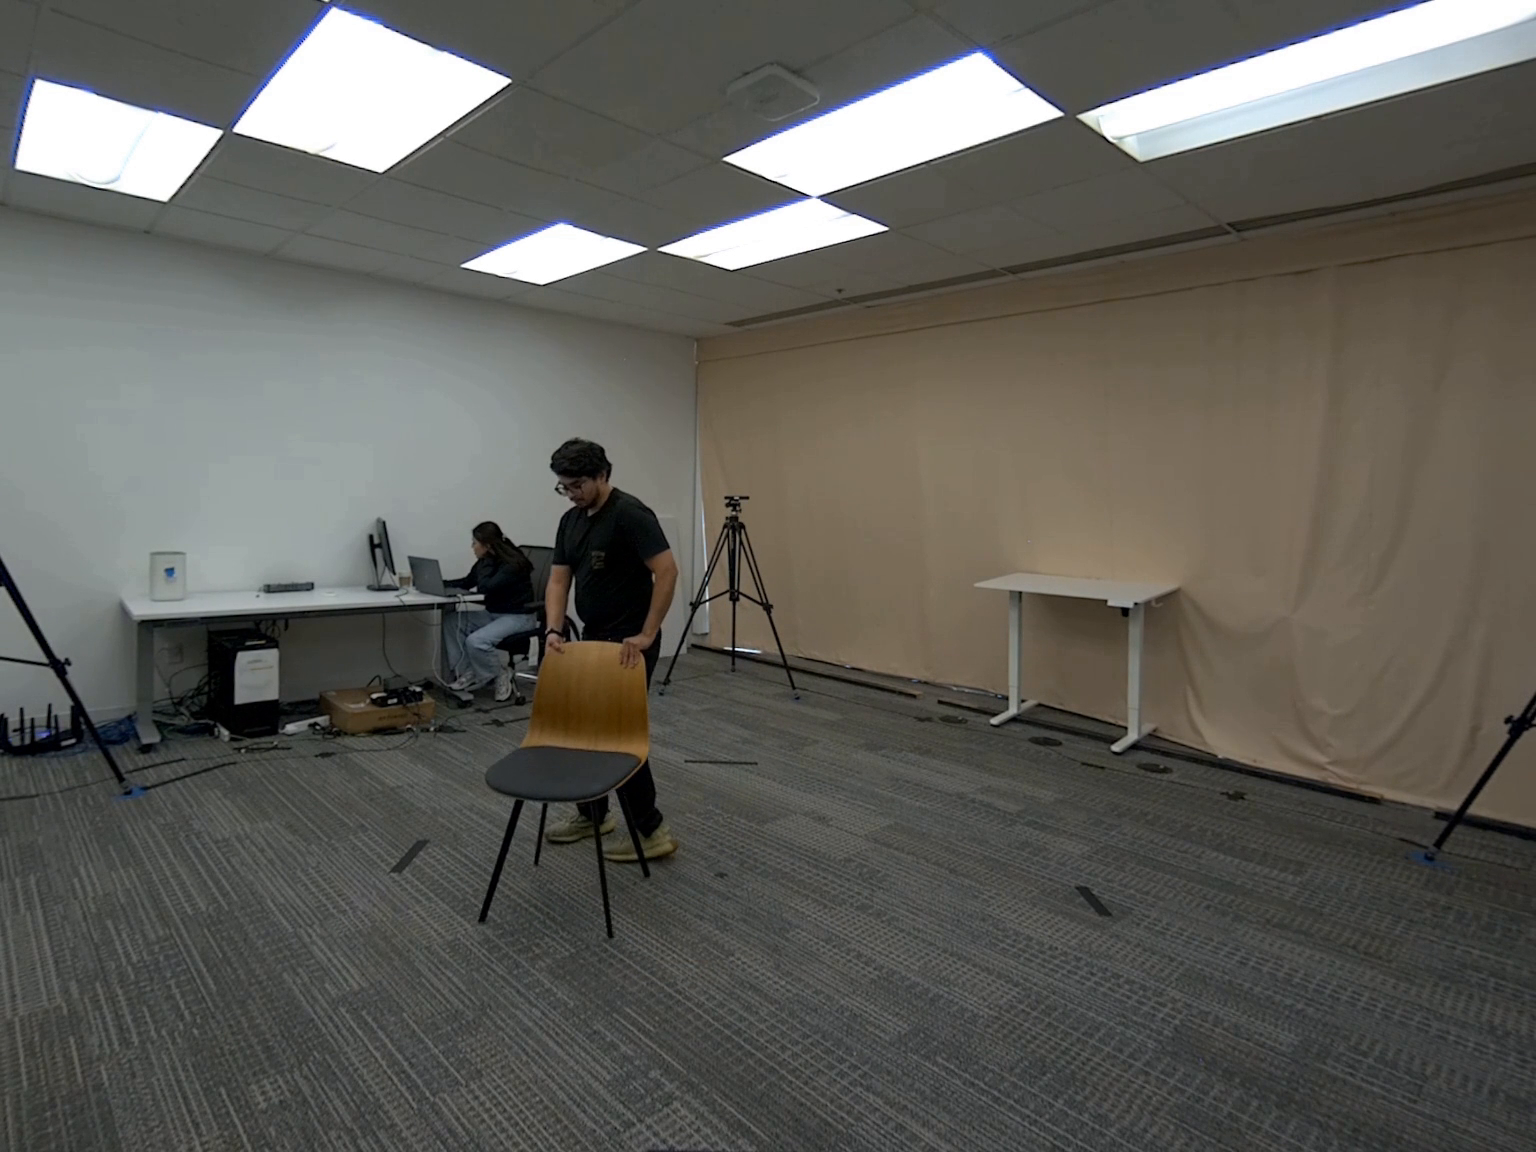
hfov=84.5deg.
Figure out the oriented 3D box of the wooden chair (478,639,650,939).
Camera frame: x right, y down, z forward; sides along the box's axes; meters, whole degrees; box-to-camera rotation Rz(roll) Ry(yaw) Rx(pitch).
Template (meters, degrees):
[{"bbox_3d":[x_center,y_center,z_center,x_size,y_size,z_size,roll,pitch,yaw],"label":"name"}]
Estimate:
[{"bbox_3d":[-0.674,0.687,2.857,0.482,0.878,0.519,3,-1,8],"label":"wooden chair"}]
